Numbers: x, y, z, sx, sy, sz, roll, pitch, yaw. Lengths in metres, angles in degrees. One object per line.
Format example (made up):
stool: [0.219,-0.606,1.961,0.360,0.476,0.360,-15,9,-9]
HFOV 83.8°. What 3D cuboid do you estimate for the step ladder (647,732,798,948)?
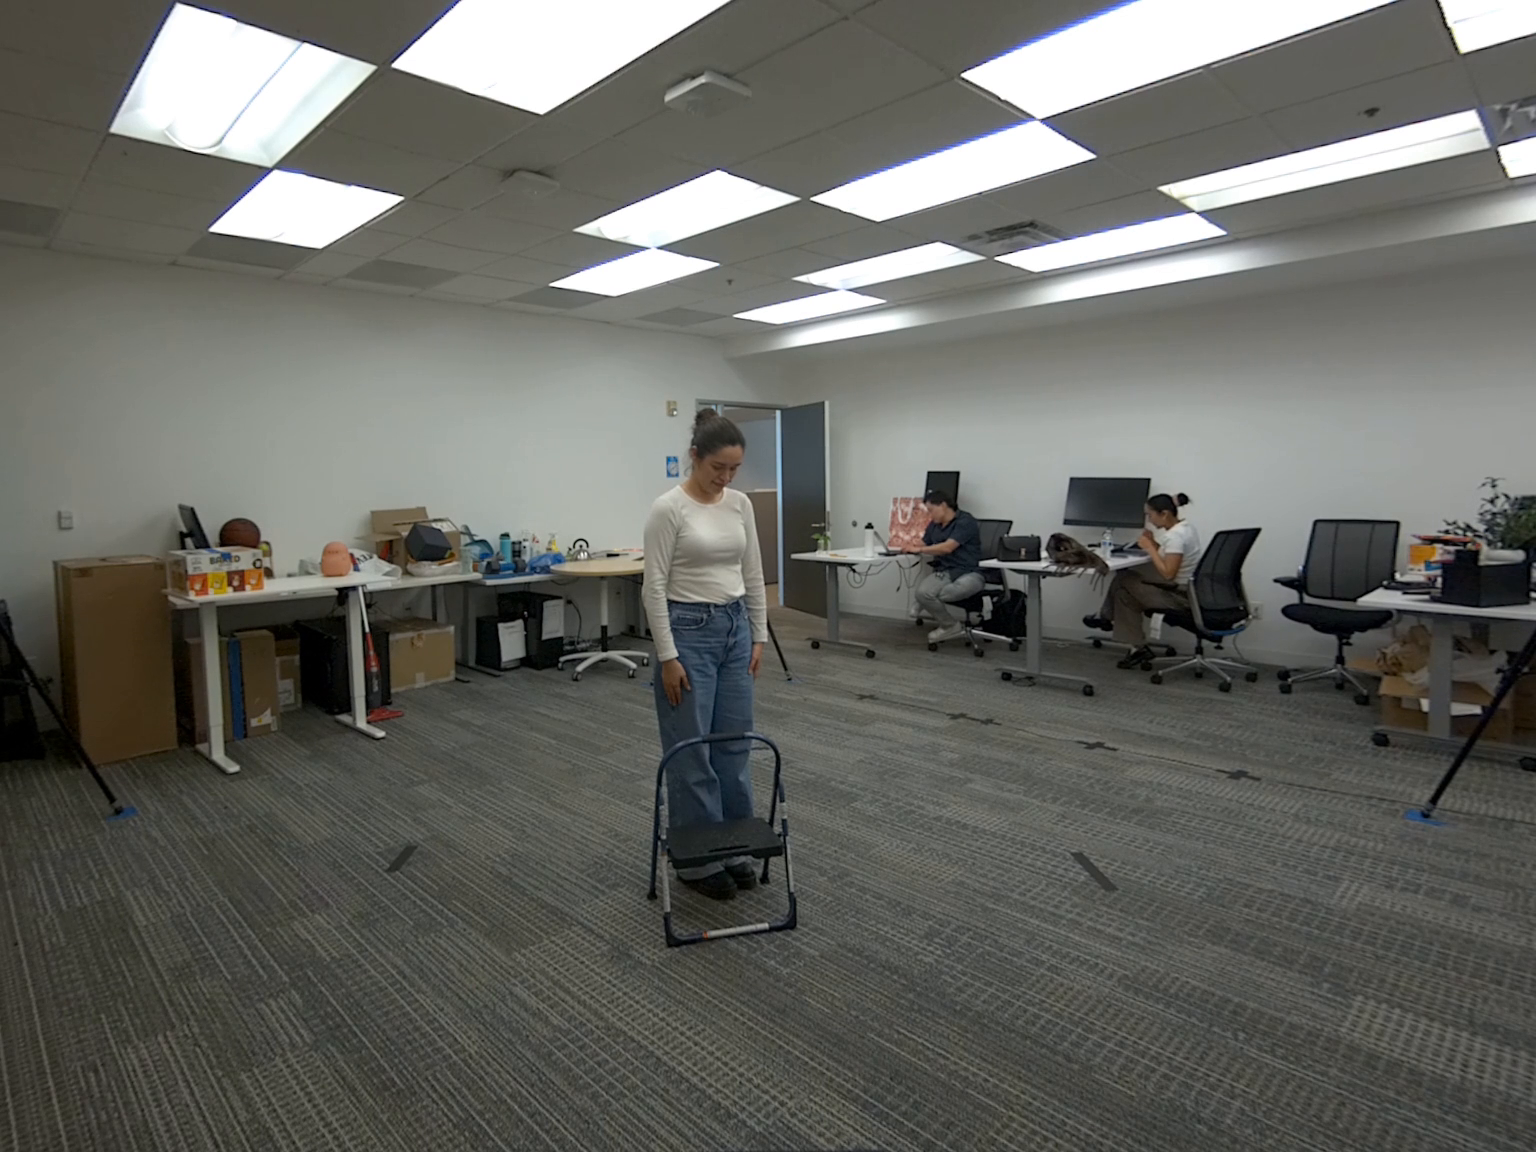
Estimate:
step ladder: [-0.159,0.787,2.746,0.425,0.604,0.355,-2,5,-16]
